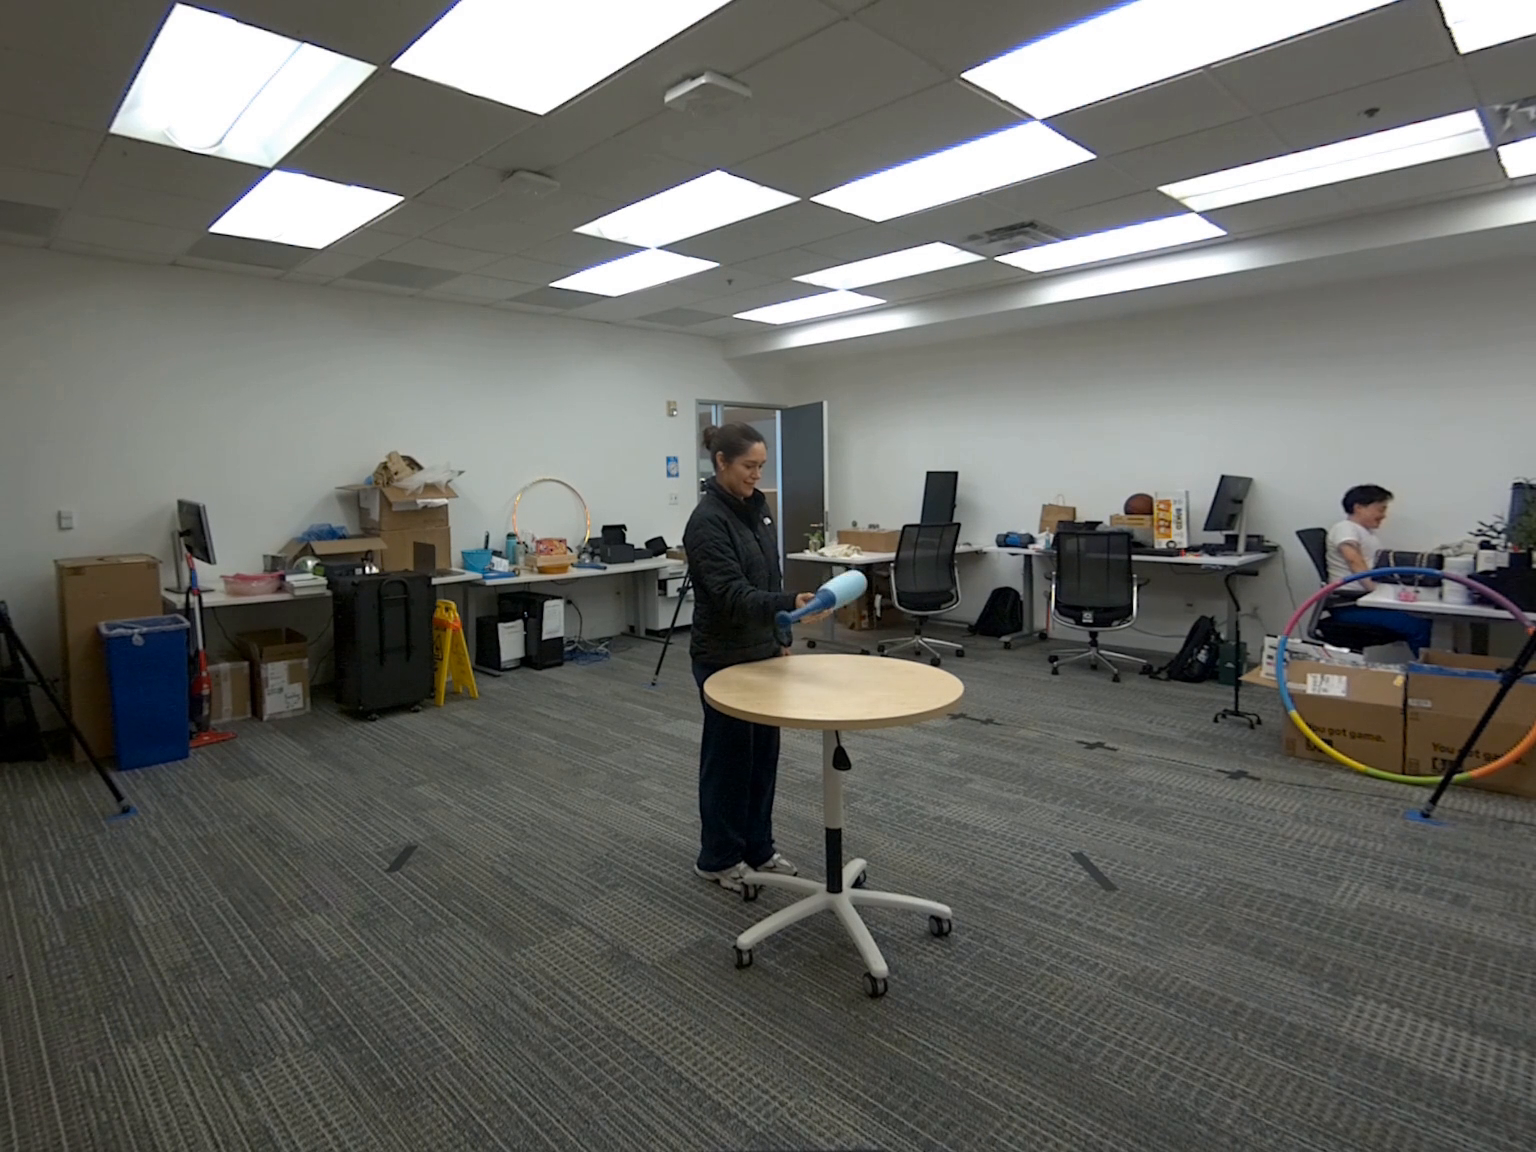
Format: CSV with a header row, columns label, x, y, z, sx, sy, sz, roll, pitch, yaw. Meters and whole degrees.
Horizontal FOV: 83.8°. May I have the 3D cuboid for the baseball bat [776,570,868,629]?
label,x,y,z,sx,sy,sz,roll,pitch,yaw
baseball bat,0.155,0.075,2.515,0.091,0.088,0.534,2,12,29
